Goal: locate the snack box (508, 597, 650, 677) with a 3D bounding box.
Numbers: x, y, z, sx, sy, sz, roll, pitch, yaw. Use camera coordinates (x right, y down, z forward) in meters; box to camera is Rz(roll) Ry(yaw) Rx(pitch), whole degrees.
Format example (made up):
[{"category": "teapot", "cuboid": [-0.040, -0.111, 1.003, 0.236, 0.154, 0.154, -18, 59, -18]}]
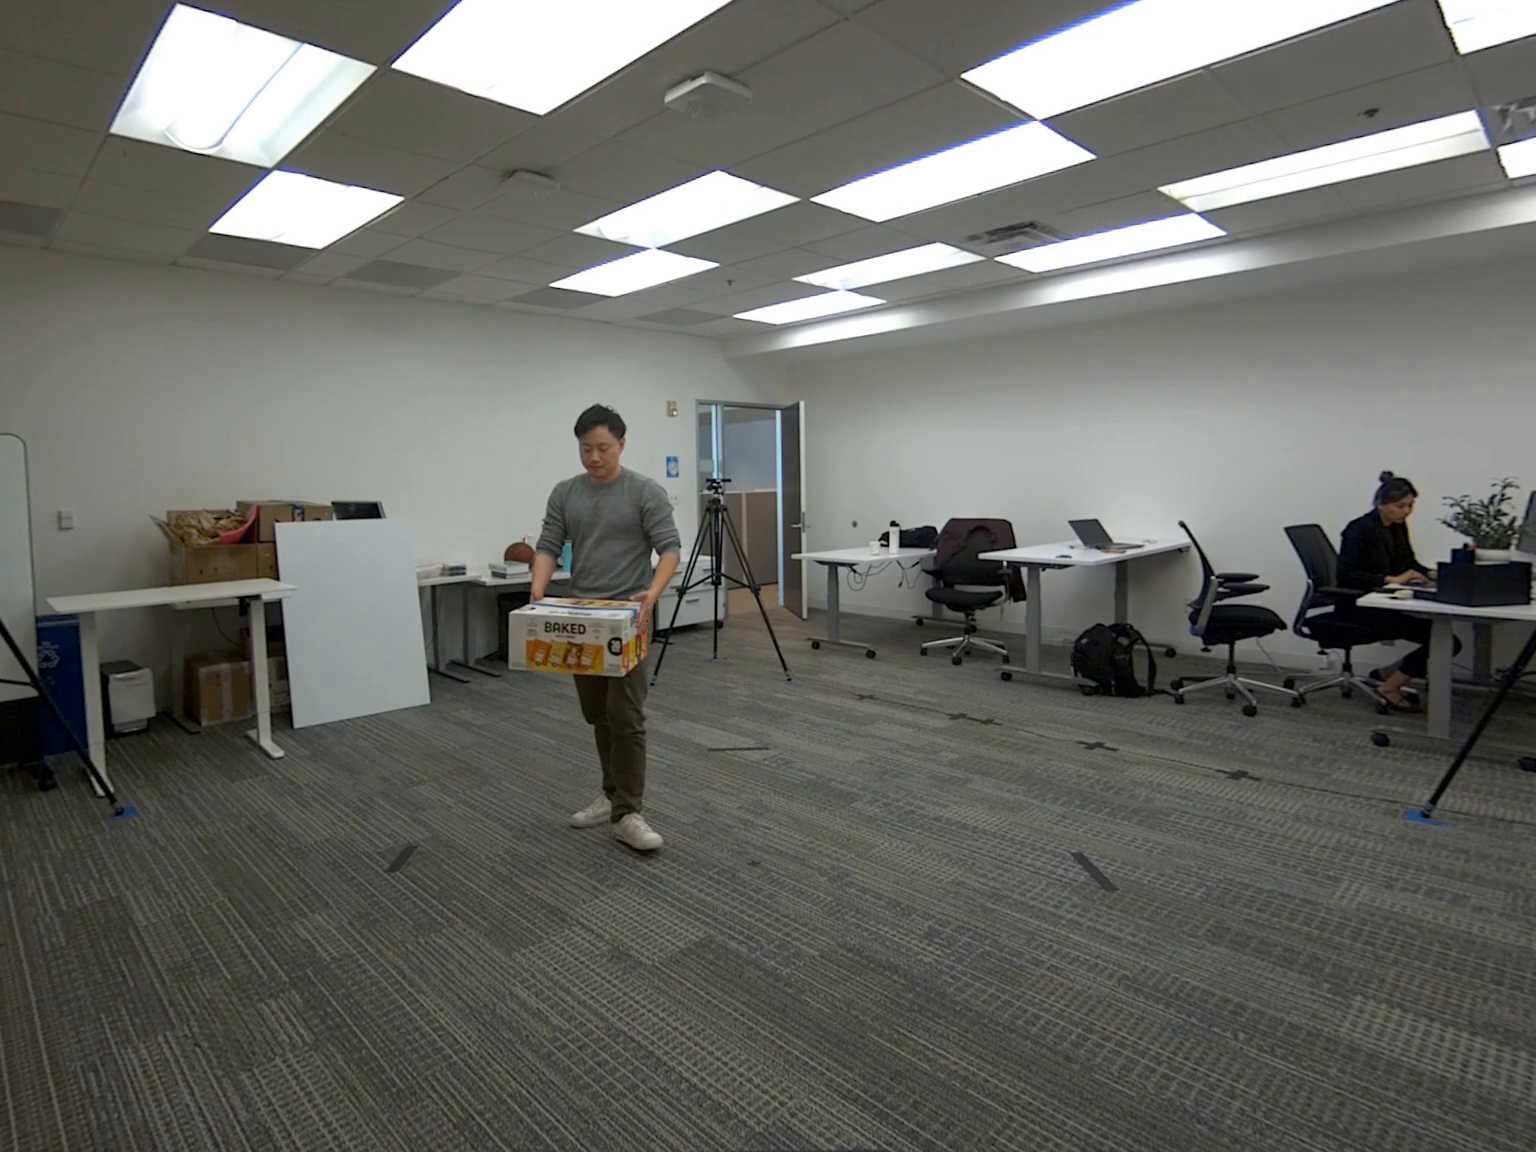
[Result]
[{"category": "snack box", "cuboid": [-0.672, 0.212, 3.070, 0.409, 0.205, 0.339, 2, 6, 8]}]
